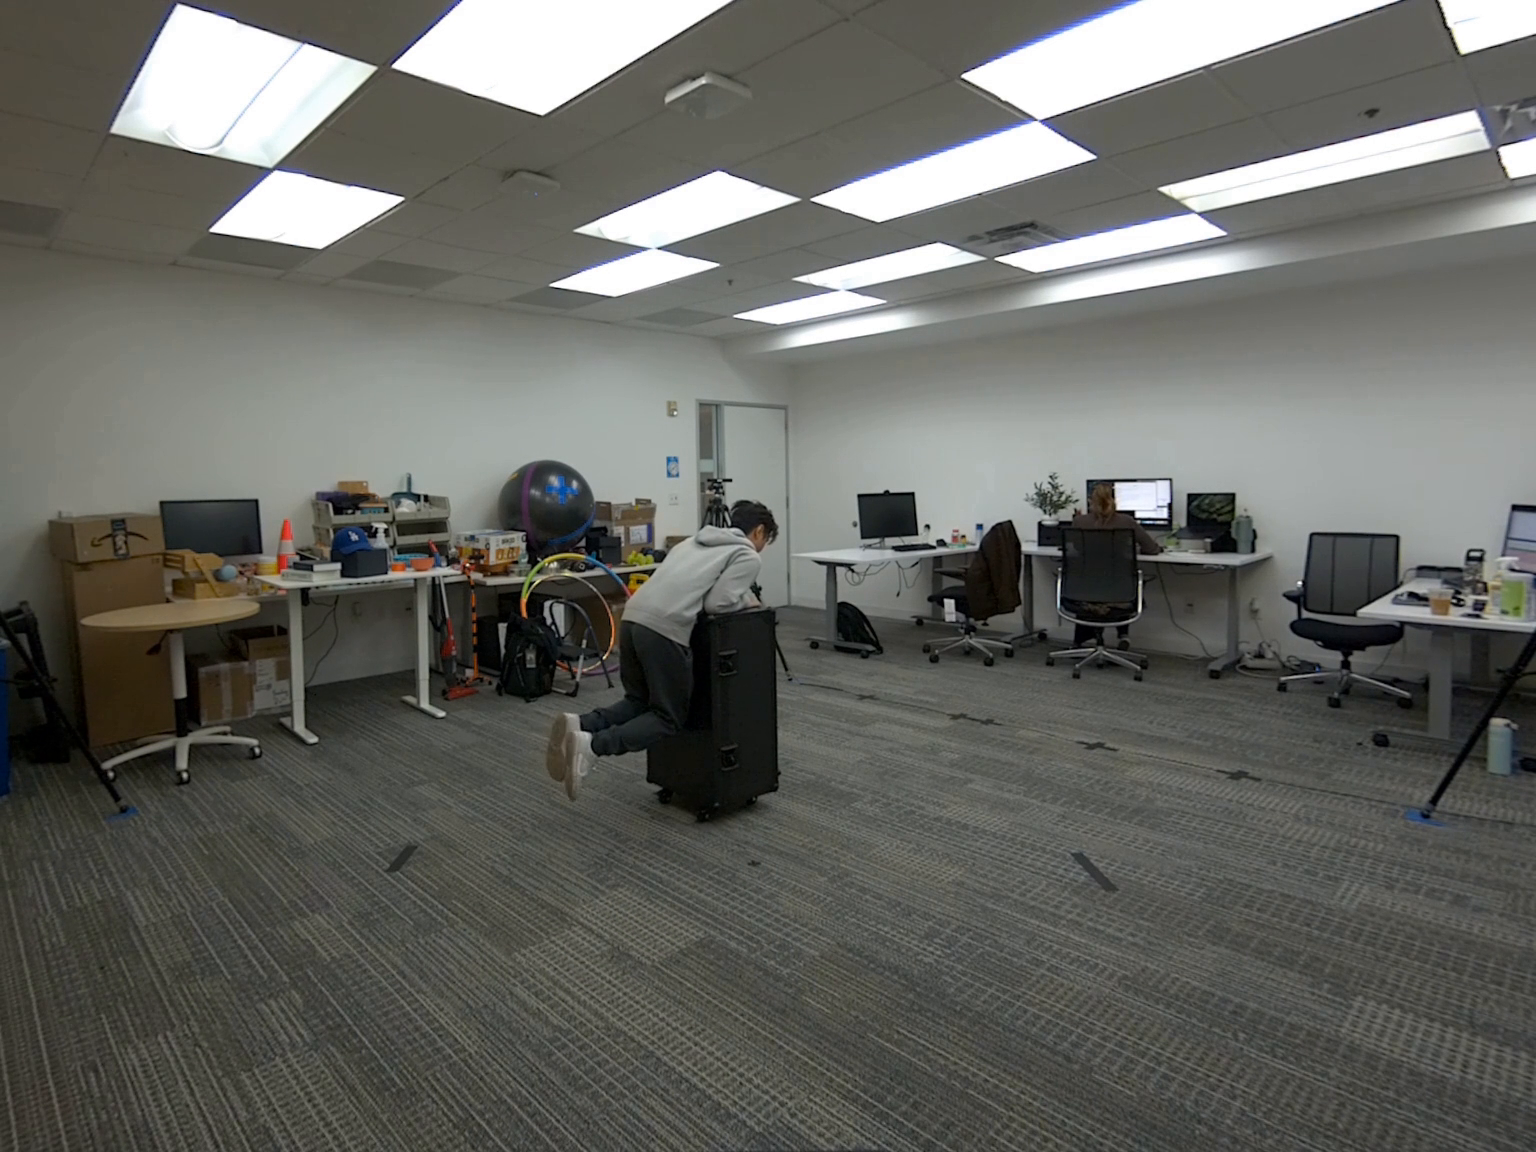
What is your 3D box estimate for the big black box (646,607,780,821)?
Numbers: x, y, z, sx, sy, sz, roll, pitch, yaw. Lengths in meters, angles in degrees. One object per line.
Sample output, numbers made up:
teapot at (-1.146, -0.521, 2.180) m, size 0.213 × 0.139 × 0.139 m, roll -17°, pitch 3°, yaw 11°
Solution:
big black box at (-0.252, 0.565, 3.707) m, size 0.385 × 0.859 × 0.537 m, roll -3°, pitch 4°, yaw -40°
